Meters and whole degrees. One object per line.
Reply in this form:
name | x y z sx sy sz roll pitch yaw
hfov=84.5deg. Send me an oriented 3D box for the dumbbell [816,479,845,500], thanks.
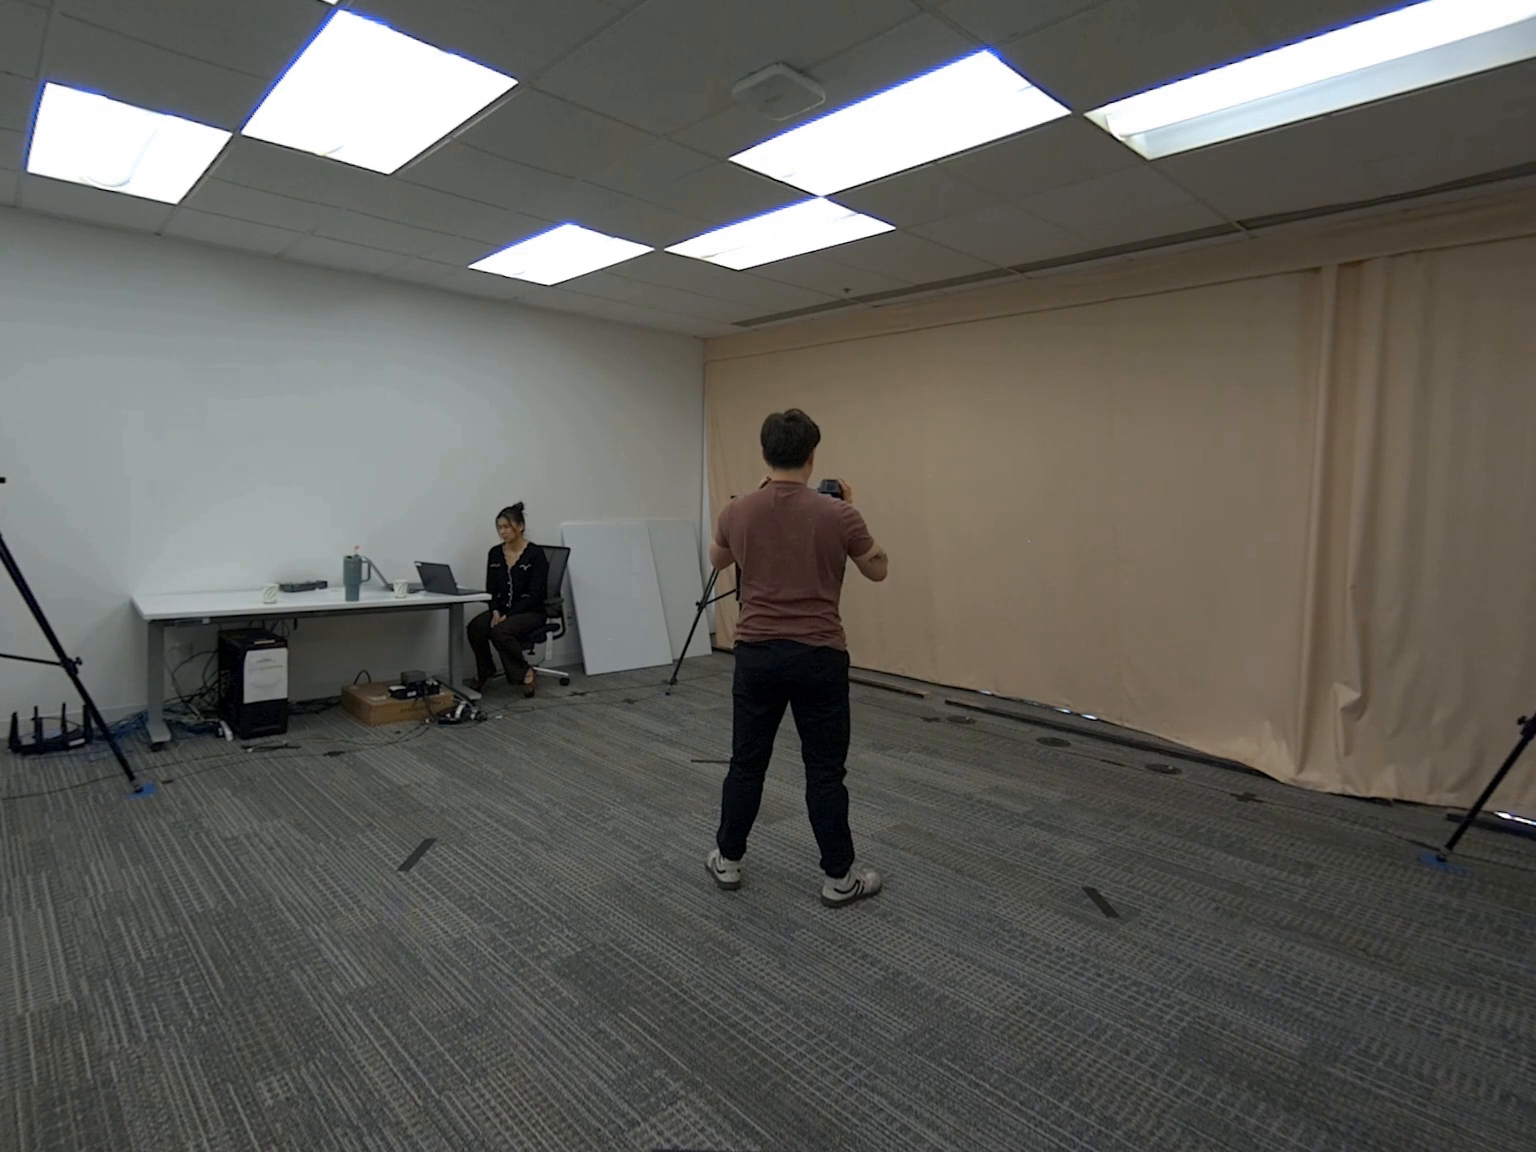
dumbbell | 0.133 -0.284 3.057 0.297 0.125 0.106 0 -38 13
